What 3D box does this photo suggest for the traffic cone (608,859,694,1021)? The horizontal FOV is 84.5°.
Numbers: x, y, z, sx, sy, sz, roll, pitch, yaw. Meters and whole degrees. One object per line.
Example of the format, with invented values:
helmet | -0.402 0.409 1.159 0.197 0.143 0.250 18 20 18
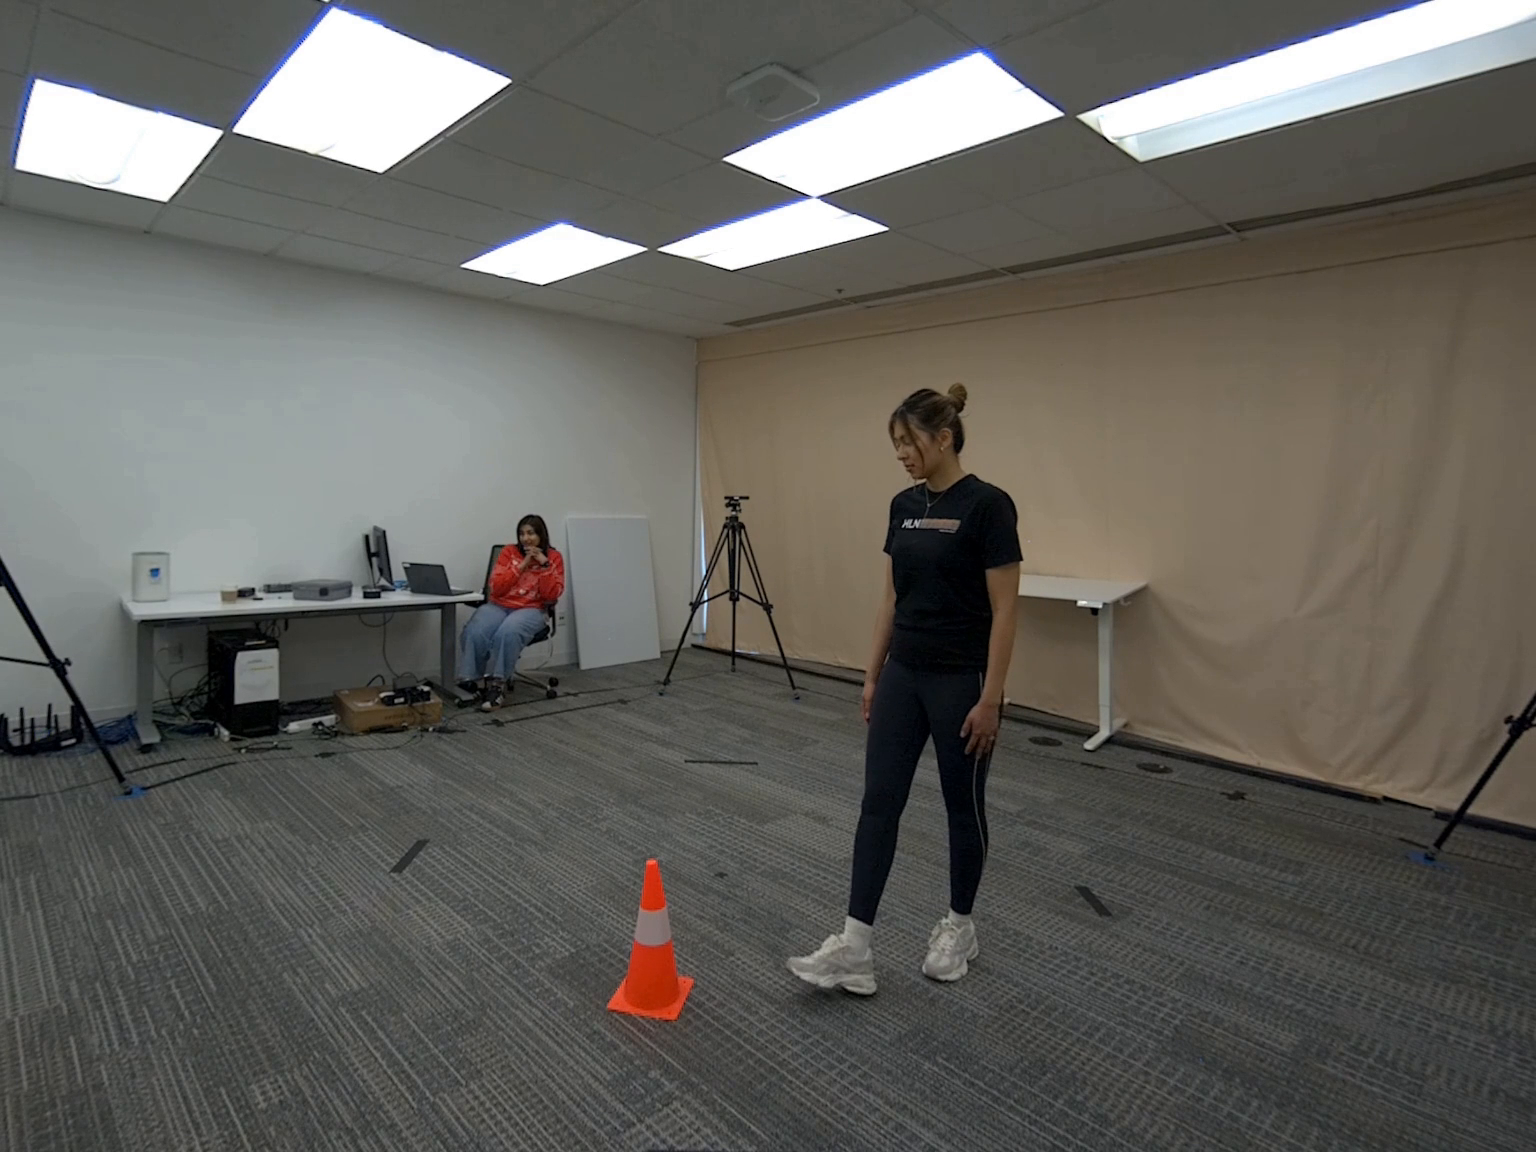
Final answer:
traffic cone | -0.323 0.984 2.341 0.206 0.383 0.203 2 4 13
